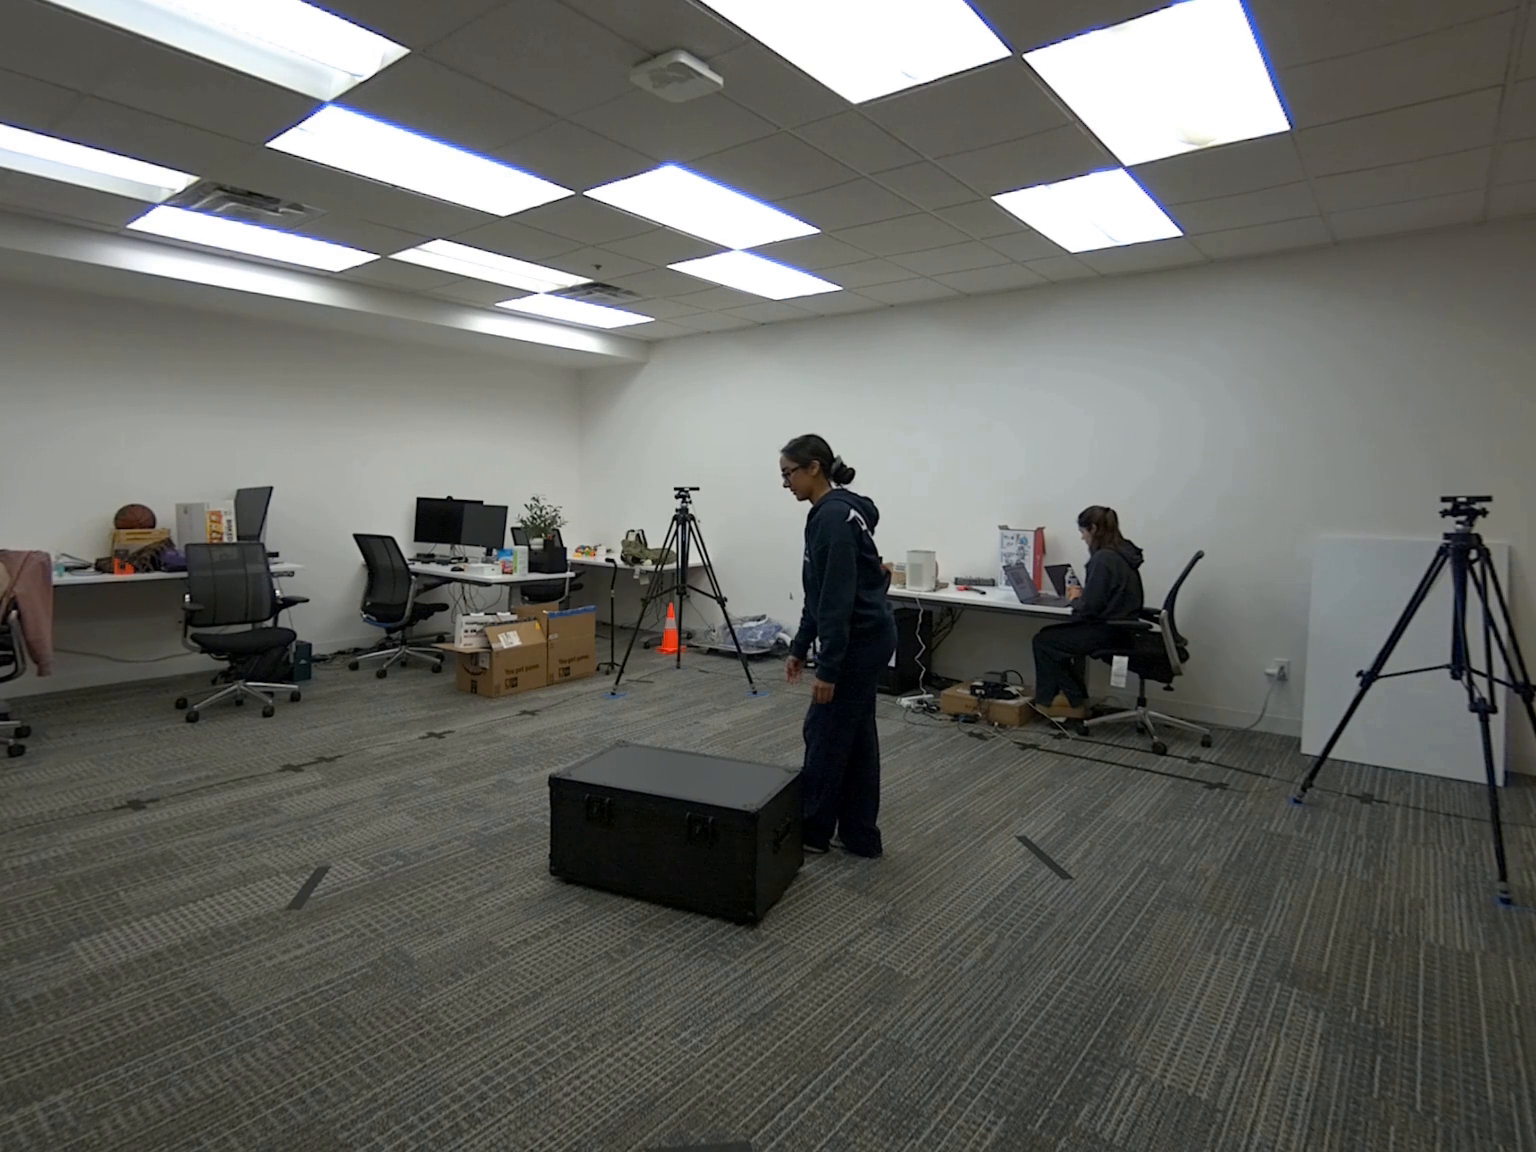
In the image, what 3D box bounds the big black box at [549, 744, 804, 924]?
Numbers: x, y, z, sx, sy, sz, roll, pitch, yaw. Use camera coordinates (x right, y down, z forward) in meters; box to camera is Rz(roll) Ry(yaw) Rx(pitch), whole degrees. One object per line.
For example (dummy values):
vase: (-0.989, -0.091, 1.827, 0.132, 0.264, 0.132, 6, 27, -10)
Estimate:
big black box: (-0.358, 0.875, 3.050, 0.882, 0.395, 0.511, 4, 5, 22)
